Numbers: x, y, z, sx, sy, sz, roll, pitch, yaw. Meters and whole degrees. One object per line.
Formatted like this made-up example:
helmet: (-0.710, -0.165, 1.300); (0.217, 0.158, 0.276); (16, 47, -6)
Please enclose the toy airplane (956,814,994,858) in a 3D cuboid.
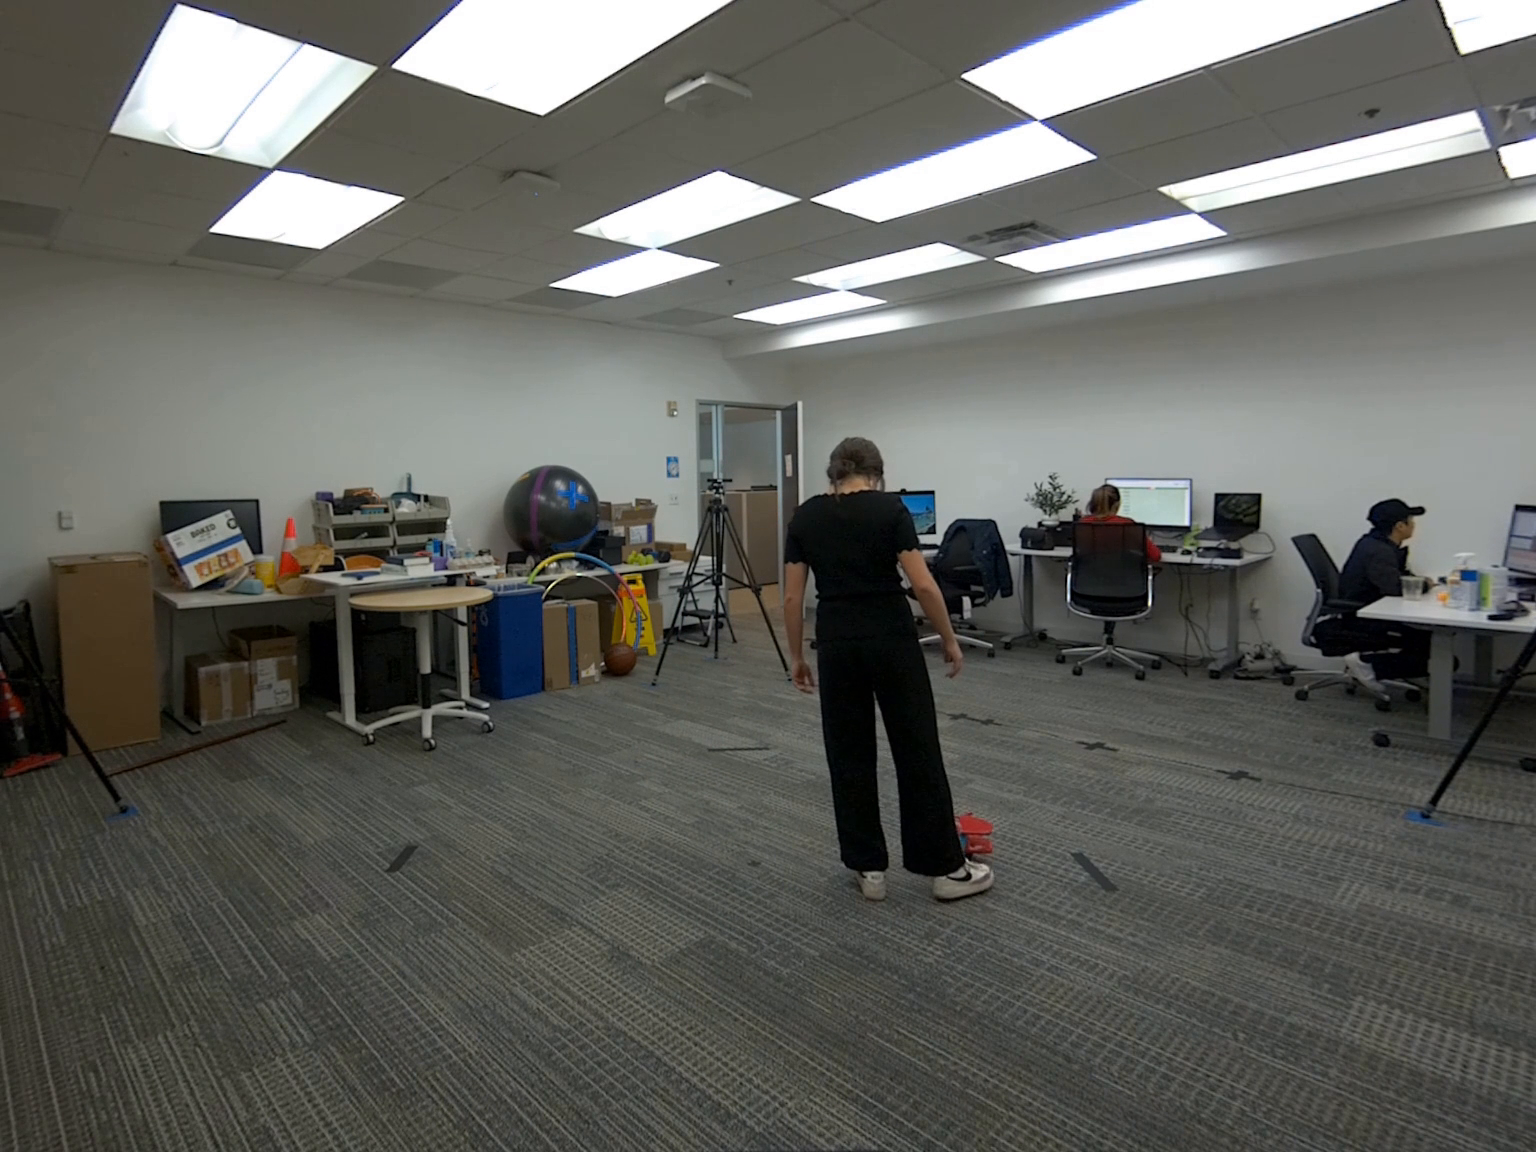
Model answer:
toy airplane: (0.694, 0.963, 3.059); (0.249, 0.156, 0.262); (-2, 4, -9)
